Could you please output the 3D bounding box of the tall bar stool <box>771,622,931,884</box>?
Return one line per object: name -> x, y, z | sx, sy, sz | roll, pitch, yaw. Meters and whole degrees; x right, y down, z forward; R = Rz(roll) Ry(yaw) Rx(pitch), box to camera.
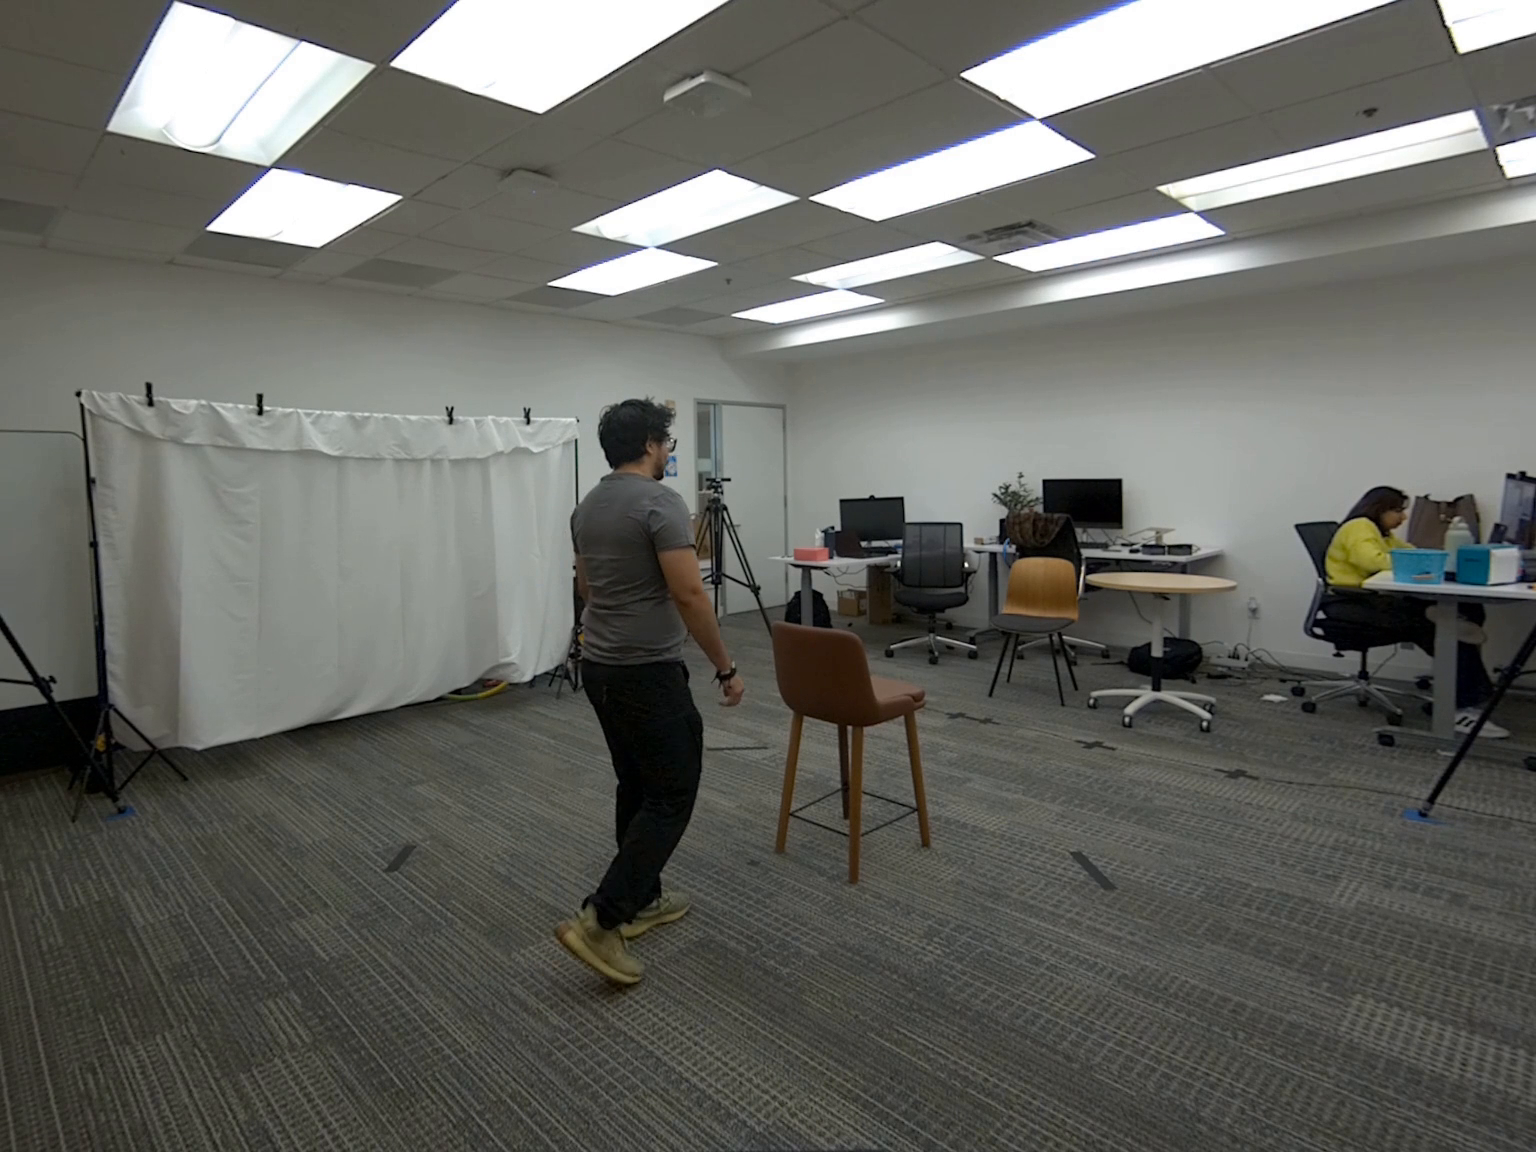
tall bar stool -> 0.307, 0.592, 3.188 | 0.455, 0.885, 0.471 | -7, 8, -44
